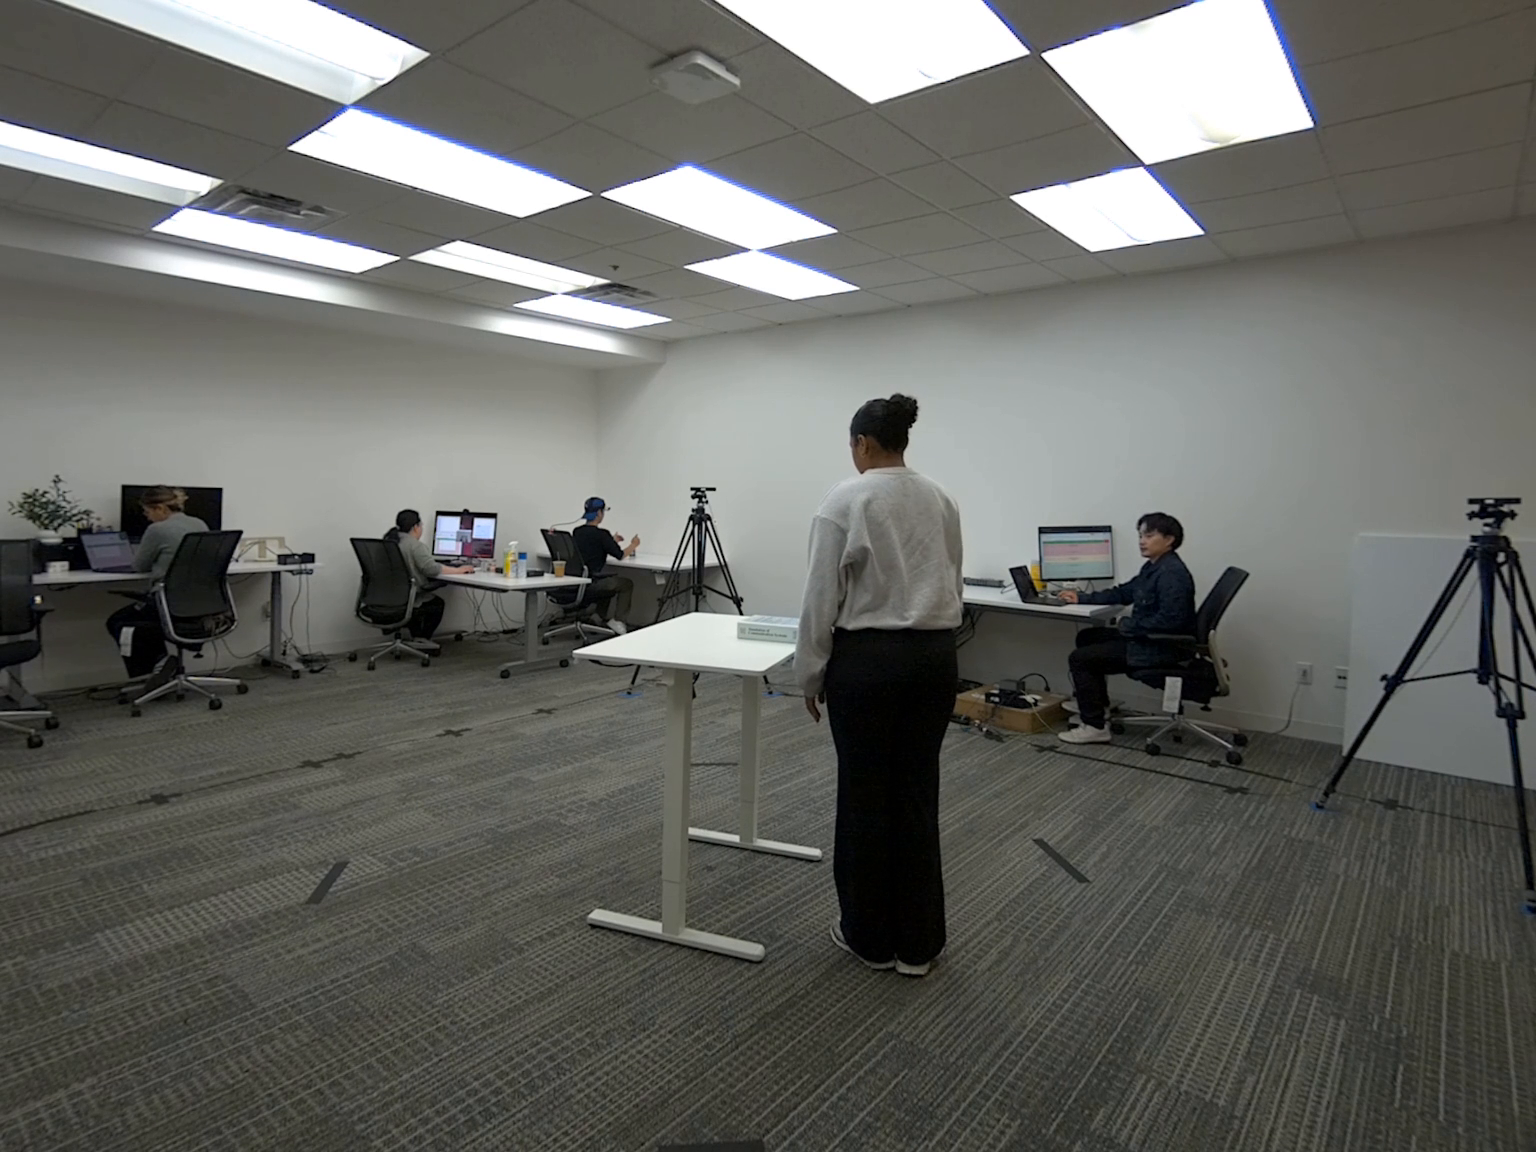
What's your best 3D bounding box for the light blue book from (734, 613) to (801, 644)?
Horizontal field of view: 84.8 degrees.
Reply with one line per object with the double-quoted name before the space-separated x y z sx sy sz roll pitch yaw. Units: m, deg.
"light blue book" 0.038 0.178 2.914 0.267 0.059 0.188 4 6 21
